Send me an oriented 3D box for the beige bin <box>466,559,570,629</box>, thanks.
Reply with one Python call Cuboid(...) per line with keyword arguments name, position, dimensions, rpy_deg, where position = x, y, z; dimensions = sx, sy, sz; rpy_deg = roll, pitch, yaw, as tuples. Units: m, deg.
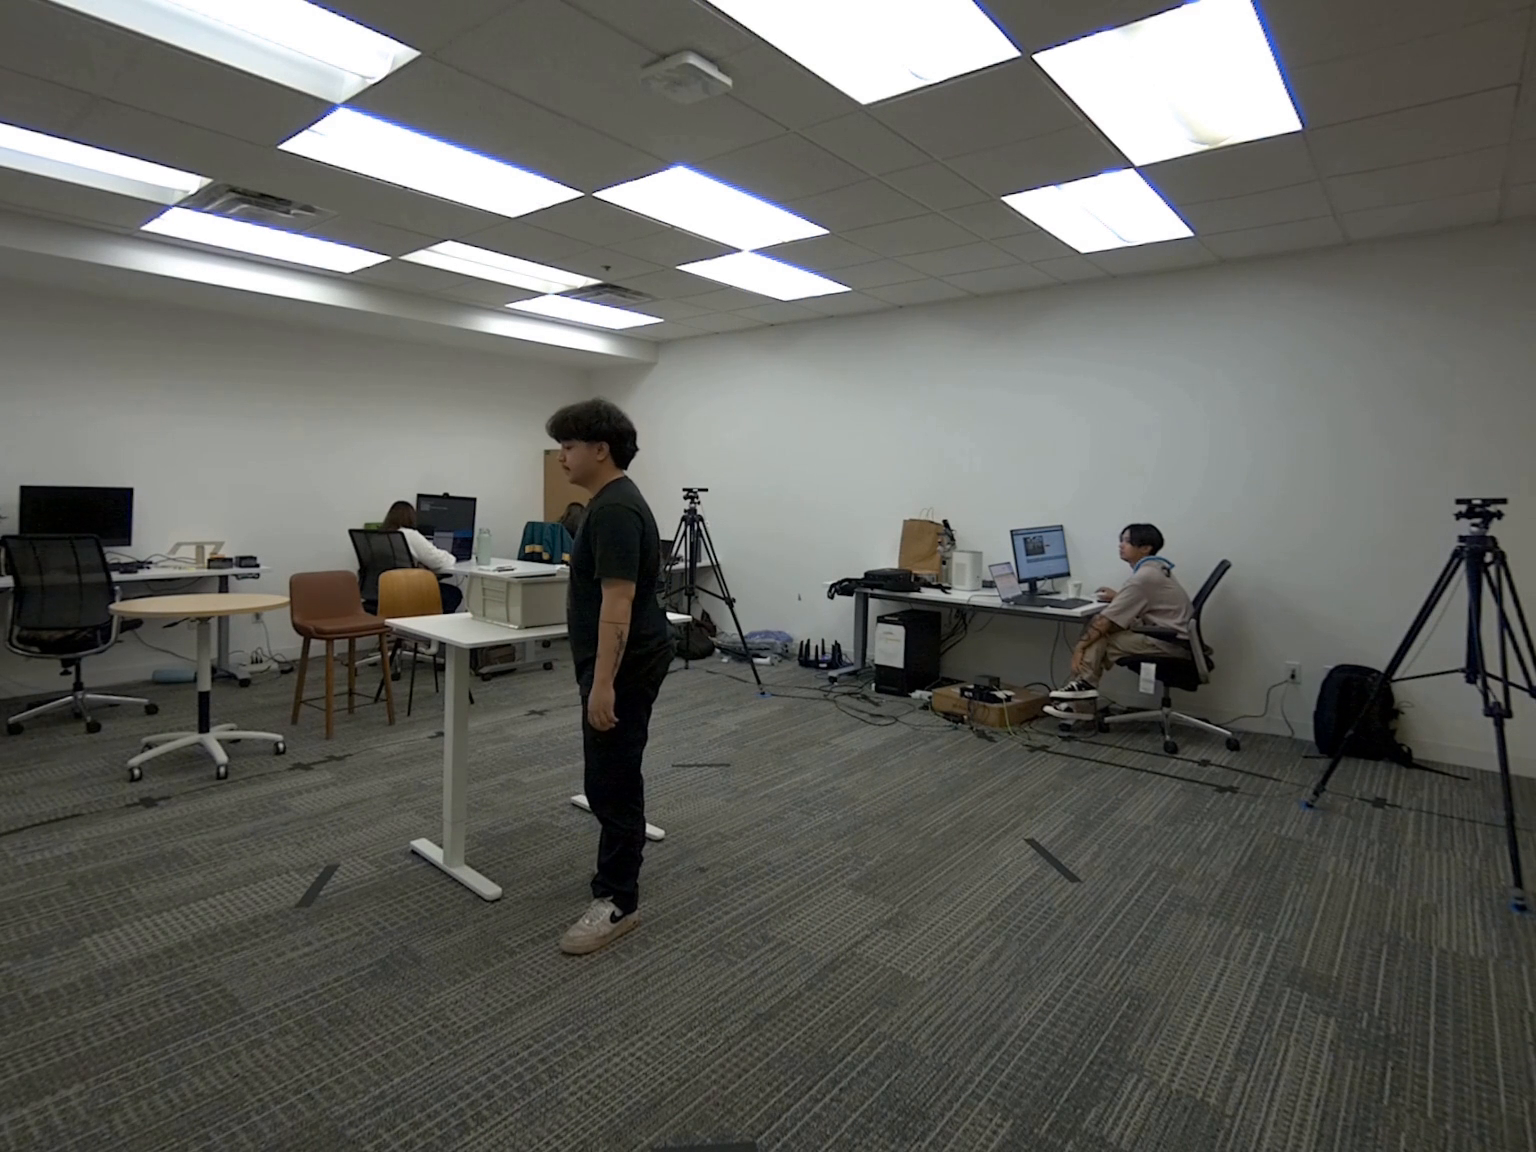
Cuboid(name="beige bin", position=(-0.889, 0.075, 3.250), dimensions=(0.391, 0.188, 0.409), rpy_deg=(8, 8, 43))
